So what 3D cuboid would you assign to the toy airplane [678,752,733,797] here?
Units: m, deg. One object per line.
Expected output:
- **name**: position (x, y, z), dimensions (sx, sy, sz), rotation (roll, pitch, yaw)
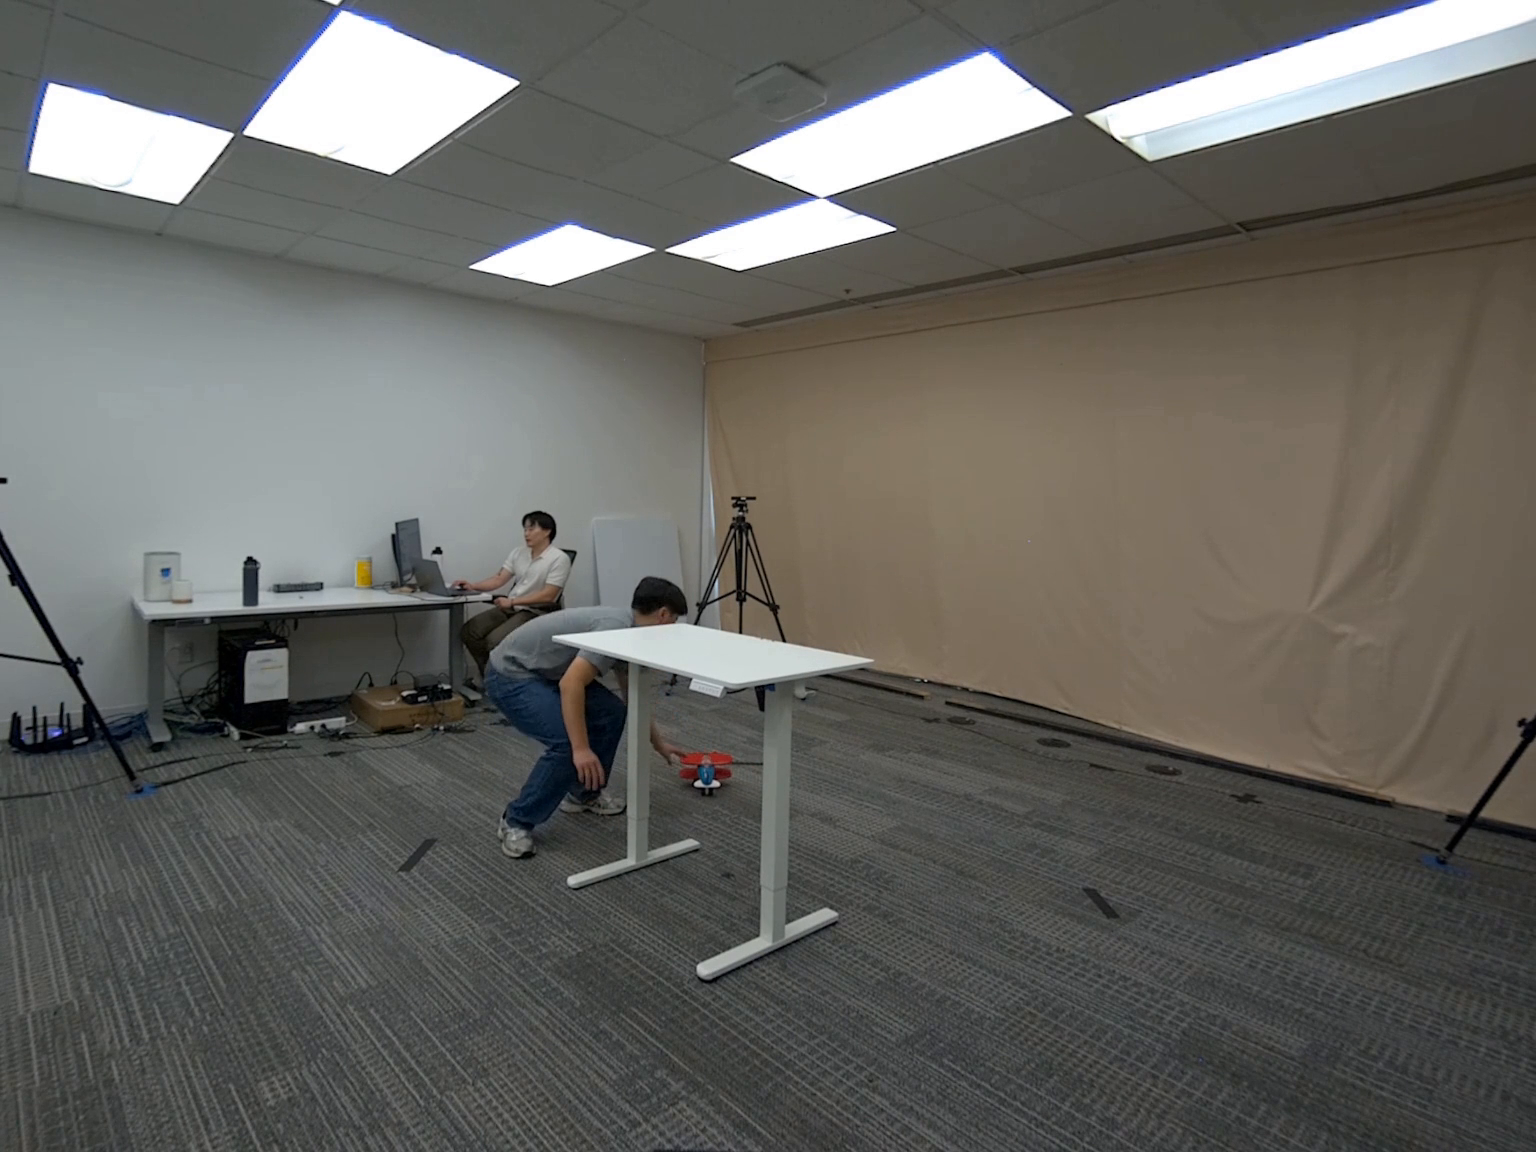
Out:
- **toy airplane**: position (-0.291, 0.944, 4.041), dimensions (0.246, 0.156, 0.265), rotation (-2, 5, -34)
